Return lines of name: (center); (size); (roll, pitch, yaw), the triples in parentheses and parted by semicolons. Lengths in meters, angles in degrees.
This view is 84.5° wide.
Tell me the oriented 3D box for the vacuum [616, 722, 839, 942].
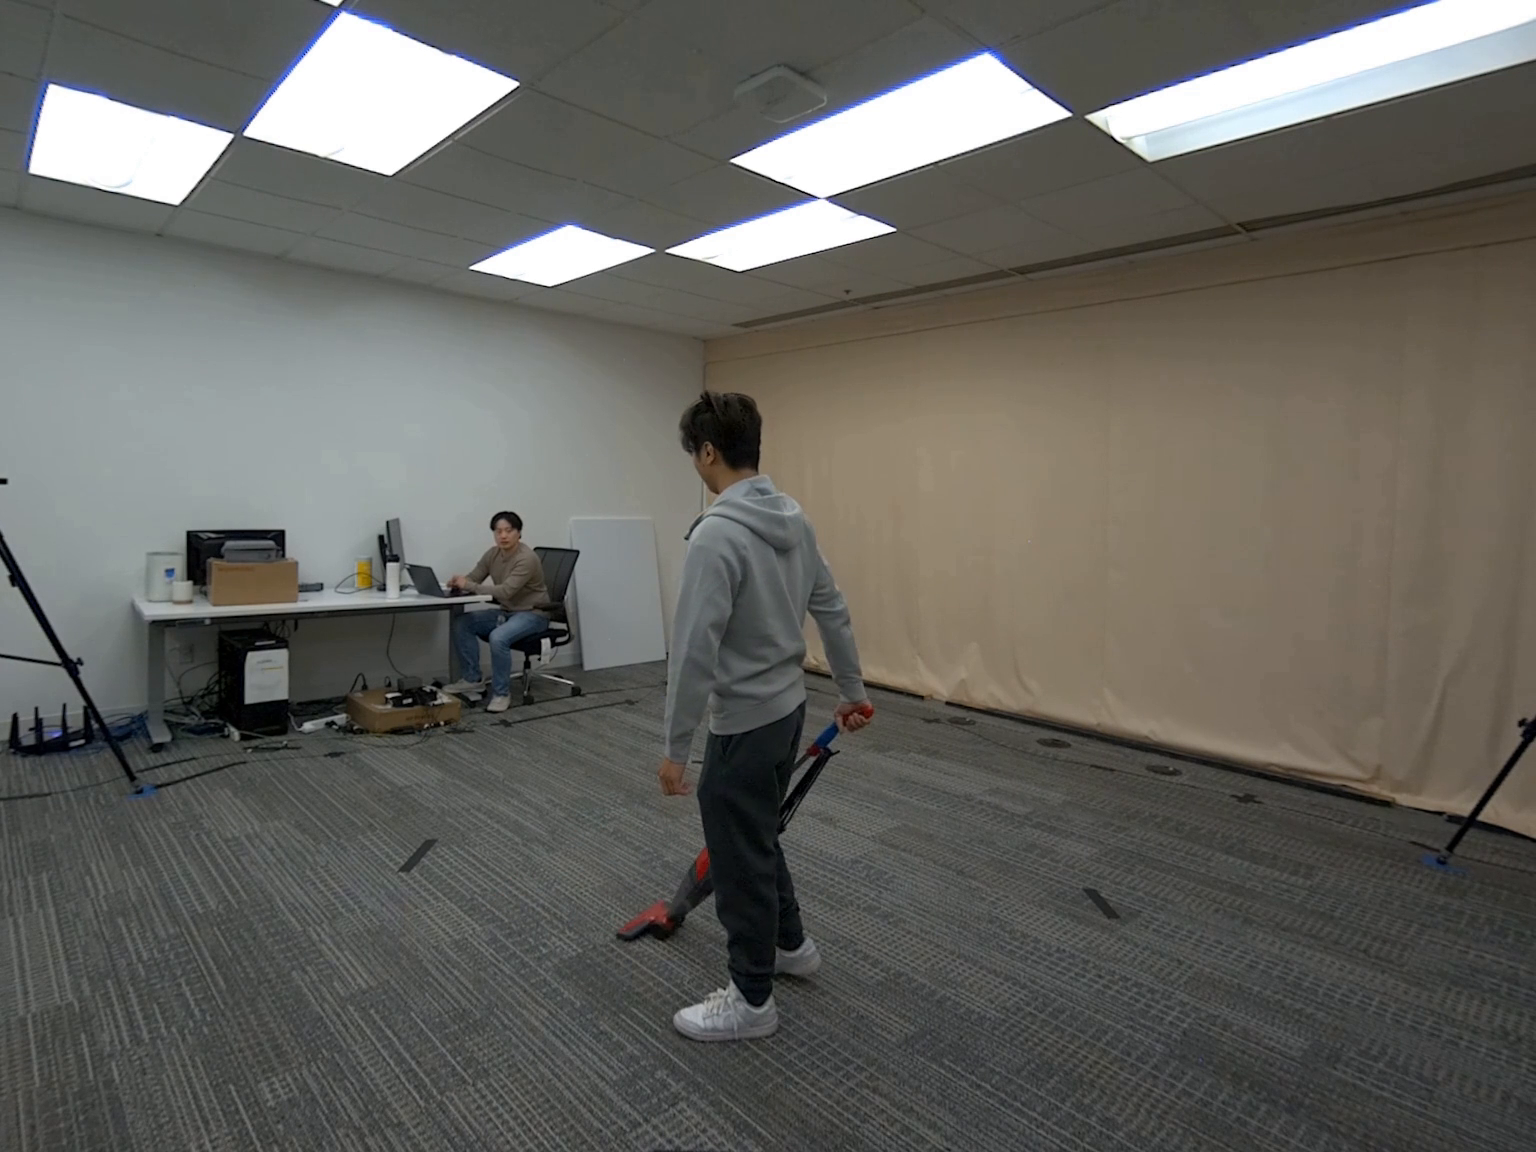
vacuum: (-0.076, 0.766, 2.547); (0.146, 1.048, 0.249); (46, 21, 11)
